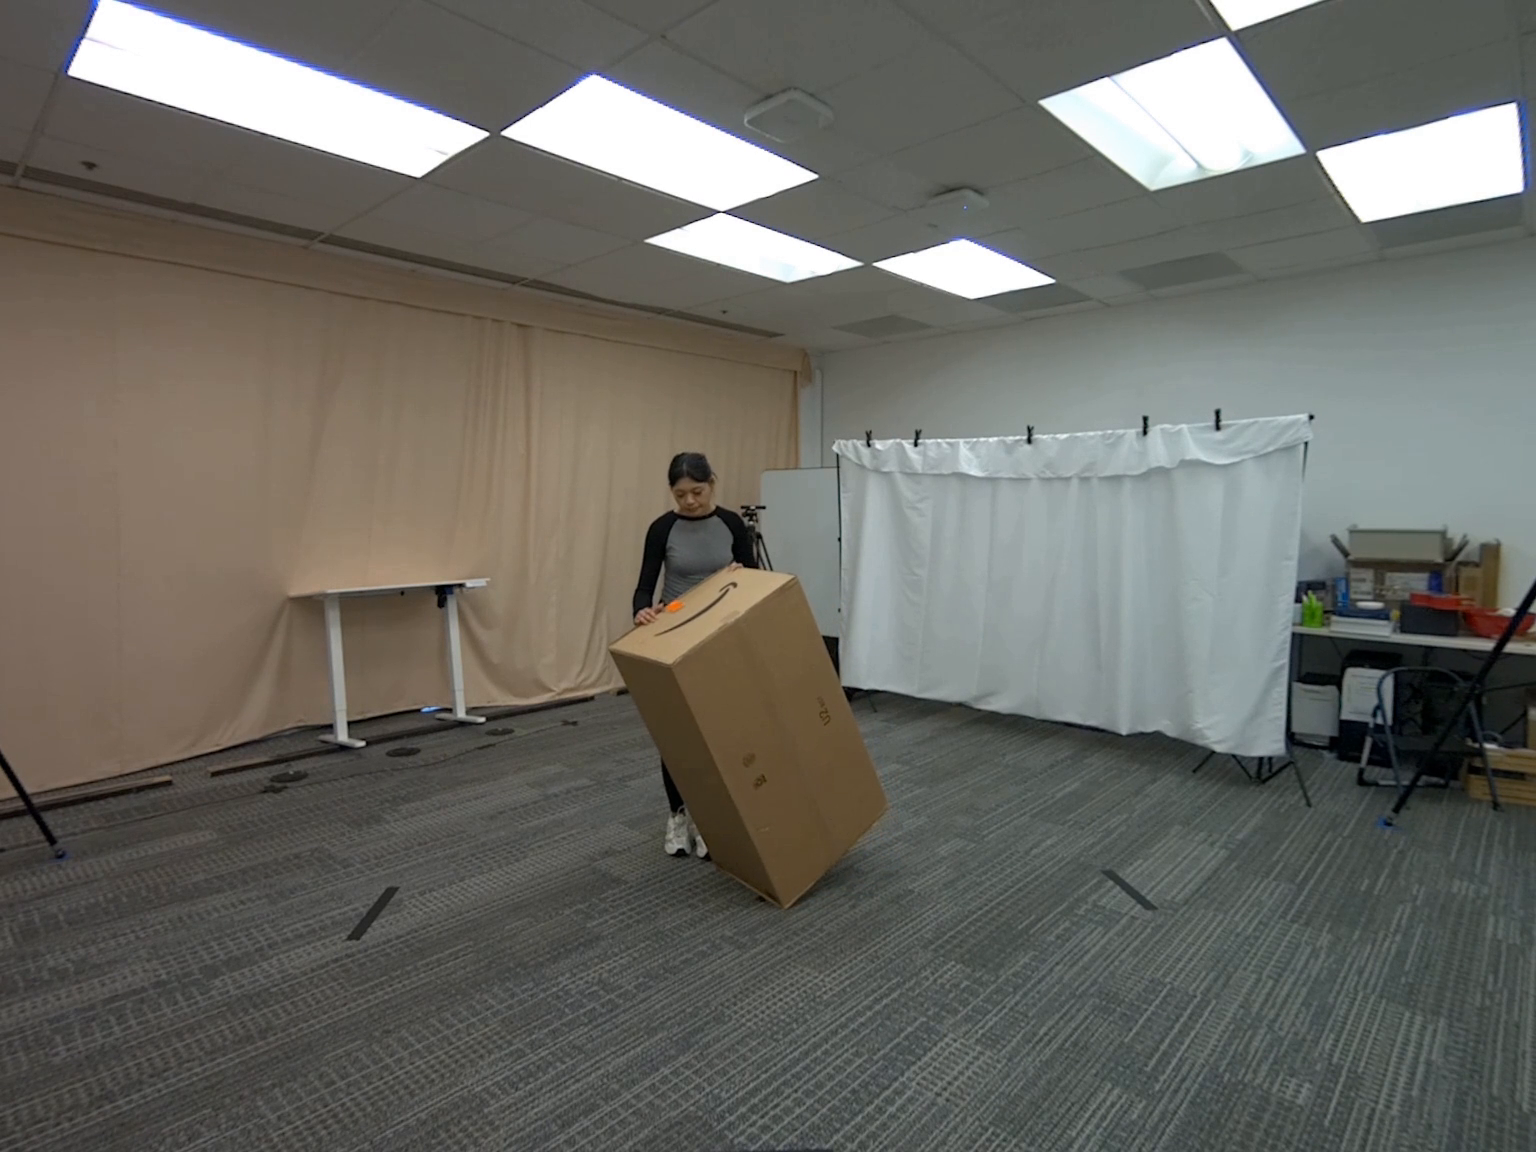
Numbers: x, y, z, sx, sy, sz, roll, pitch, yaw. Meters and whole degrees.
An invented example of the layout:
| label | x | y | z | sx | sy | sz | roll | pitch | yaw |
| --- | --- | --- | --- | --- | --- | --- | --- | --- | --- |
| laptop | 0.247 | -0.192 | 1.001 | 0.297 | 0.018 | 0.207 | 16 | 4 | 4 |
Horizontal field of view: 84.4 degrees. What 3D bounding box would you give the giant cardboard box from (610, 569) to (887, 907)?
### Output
| label | x | y | z | sx | sy | sz | roll | pitch | yaw |
| --- | --- | --- | --- | --- | --- | --- | --- | --- | --- |
| giant cardboard box | -0.045 | 0.564 | 3.054 | 0.575 | 1.009 | 0.461 | -34 | 22 | -31 |
